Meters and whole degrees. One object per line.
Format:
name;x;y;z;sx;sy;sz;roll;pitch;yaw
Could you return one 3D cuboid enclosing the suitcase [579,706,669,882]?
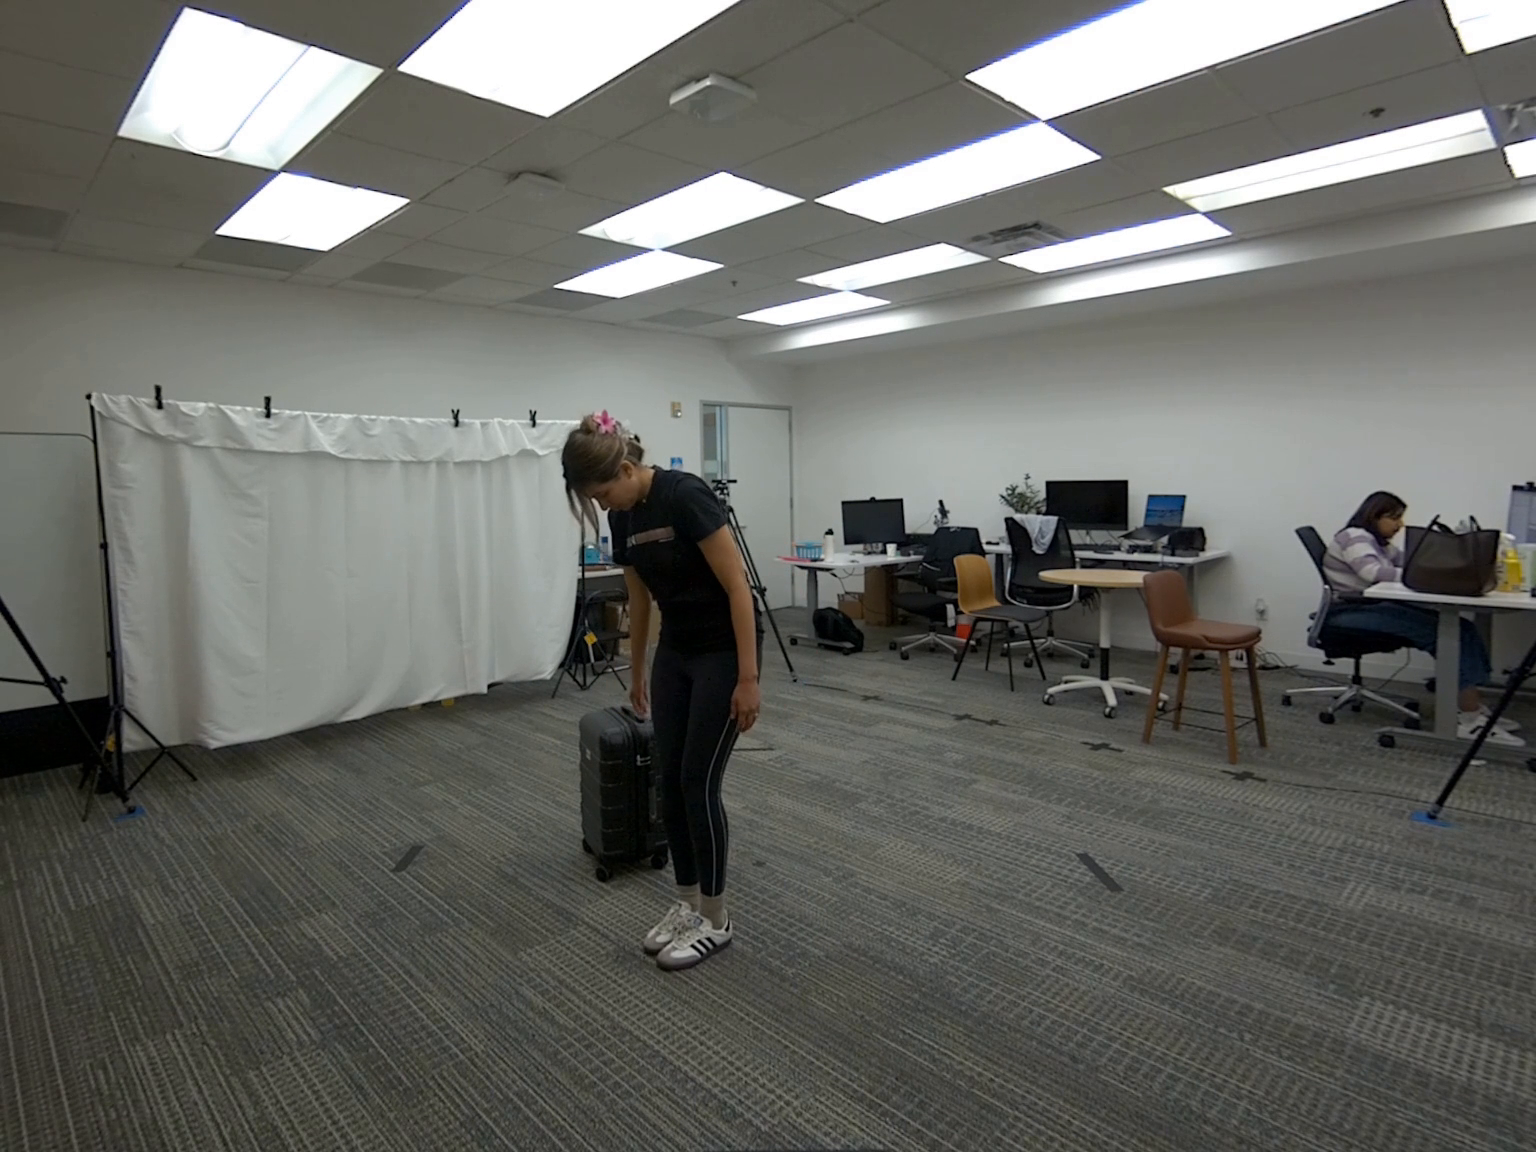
suitcase;-0.552;0.576;3.143;0.252;0.974;0.393;-4;5;-24
